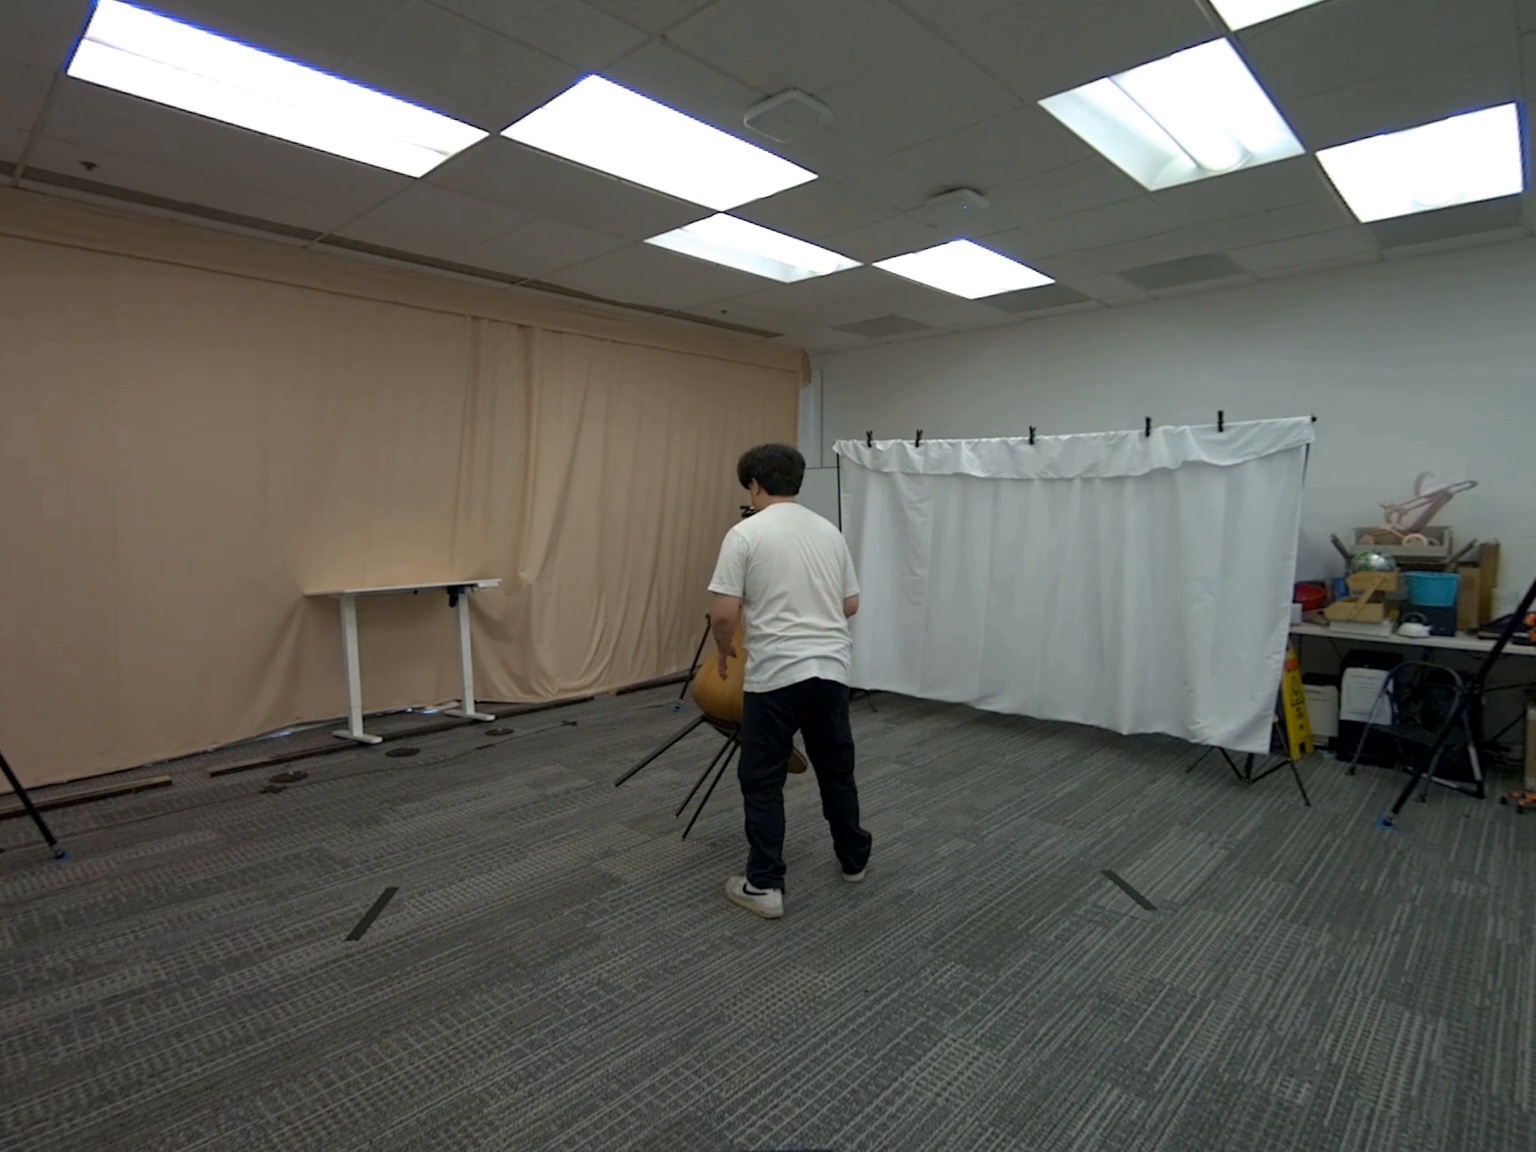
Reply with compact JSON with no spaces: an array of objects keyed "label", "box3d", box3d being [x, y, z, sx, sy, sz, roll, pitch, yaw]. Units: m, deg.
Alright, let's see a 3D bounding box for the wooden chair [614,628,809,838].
[{"label":"wooden chair","box3d":[-0.116,0.645,3.394,0.507,0.877,0.493,42,-23,-32]}]
